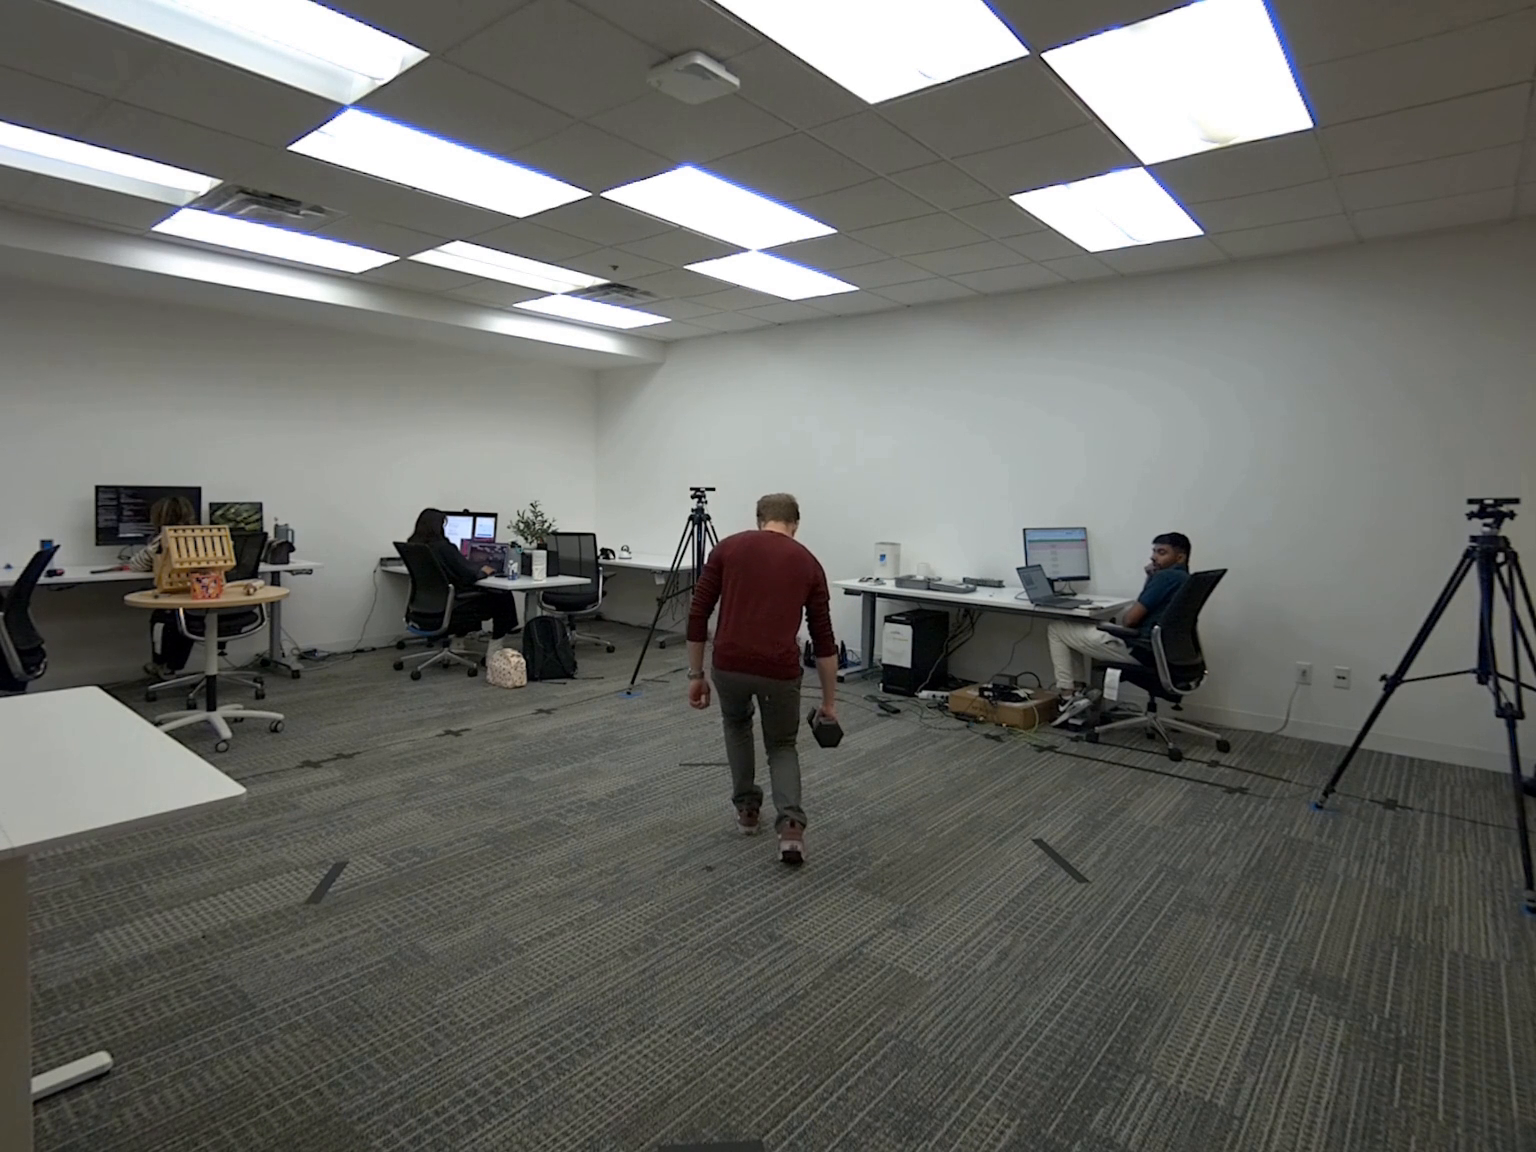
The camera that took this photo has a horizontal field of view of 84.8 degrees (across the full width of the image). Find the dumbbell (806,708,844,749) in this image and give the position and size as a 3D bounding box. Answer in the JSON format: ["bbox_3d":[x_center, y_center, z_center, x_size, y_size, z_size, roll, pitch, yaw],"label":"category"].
[{"bbox_3d":[0.219,0.609,3.469,0.109,0.122,0.295,-31,7,0],"label":"dumbbell"}]
